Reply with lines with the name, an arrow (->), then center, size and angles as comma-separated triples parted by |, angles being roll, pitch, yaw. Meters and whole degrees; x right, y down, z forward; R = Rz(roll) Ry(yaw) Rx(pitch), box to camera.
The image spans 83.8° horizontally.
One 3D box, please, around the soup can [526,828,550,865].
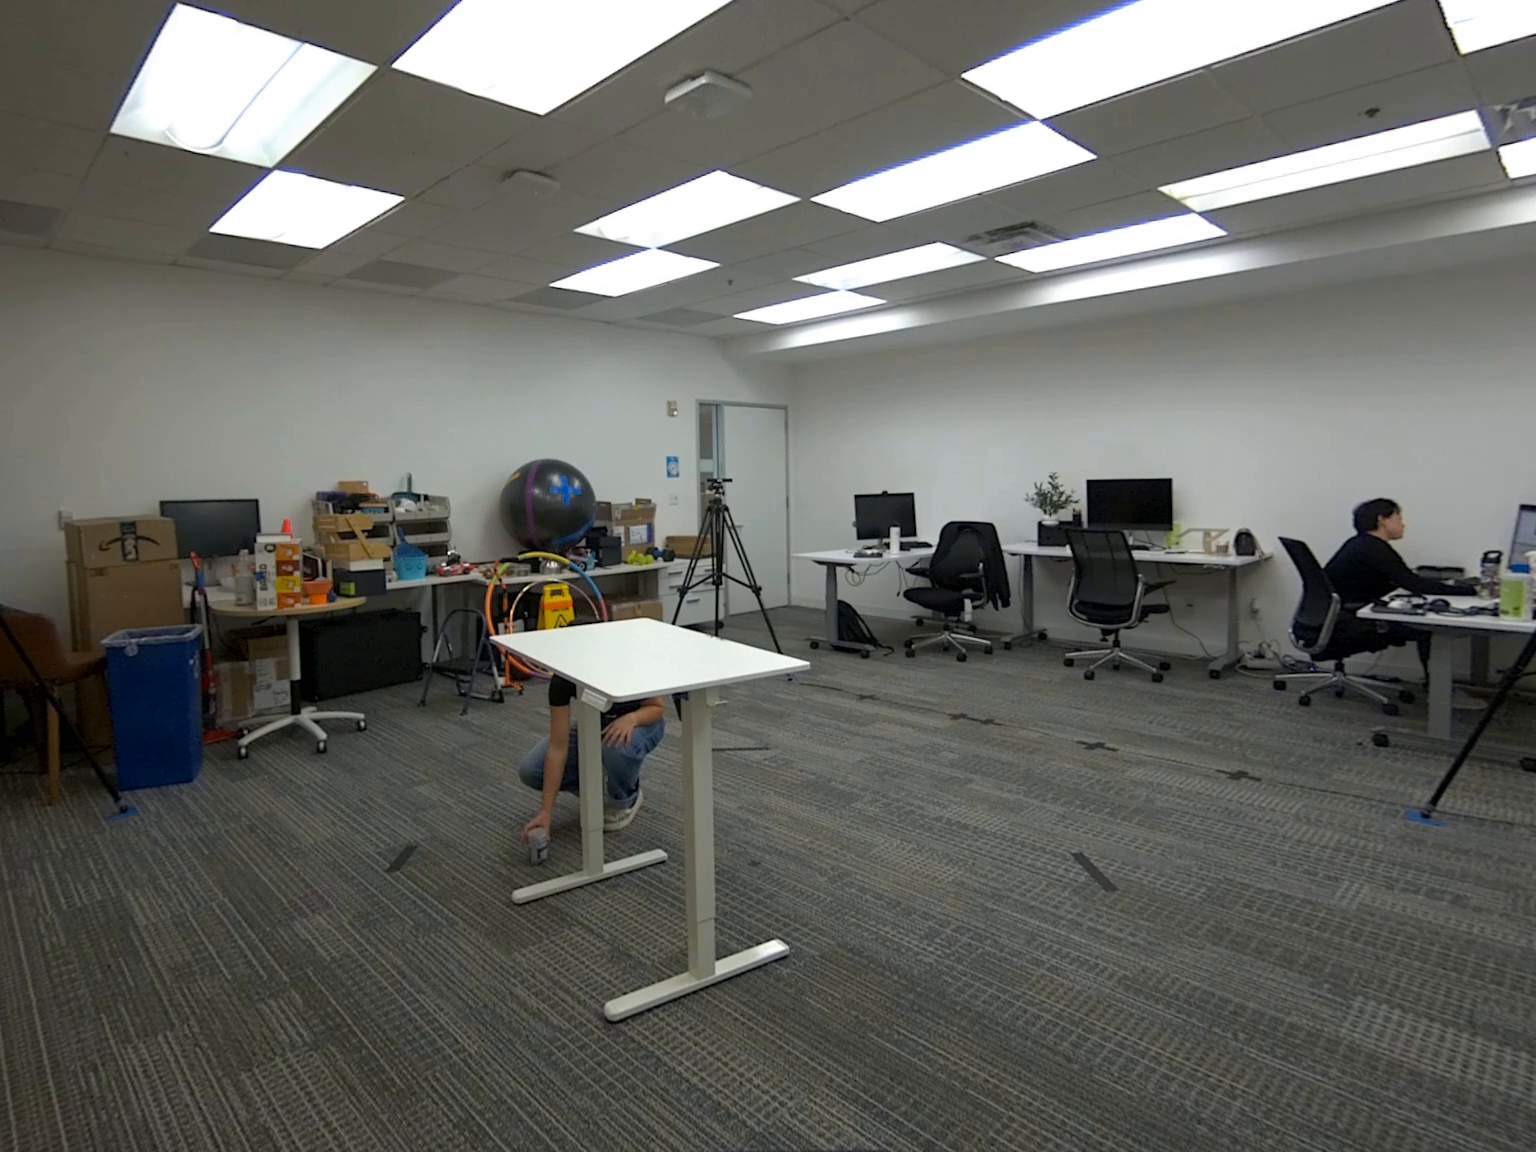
soup can -> -0.850, 0.998, 3.146 | 0.067, 0.121, 0.067 | -5, 6, -1
